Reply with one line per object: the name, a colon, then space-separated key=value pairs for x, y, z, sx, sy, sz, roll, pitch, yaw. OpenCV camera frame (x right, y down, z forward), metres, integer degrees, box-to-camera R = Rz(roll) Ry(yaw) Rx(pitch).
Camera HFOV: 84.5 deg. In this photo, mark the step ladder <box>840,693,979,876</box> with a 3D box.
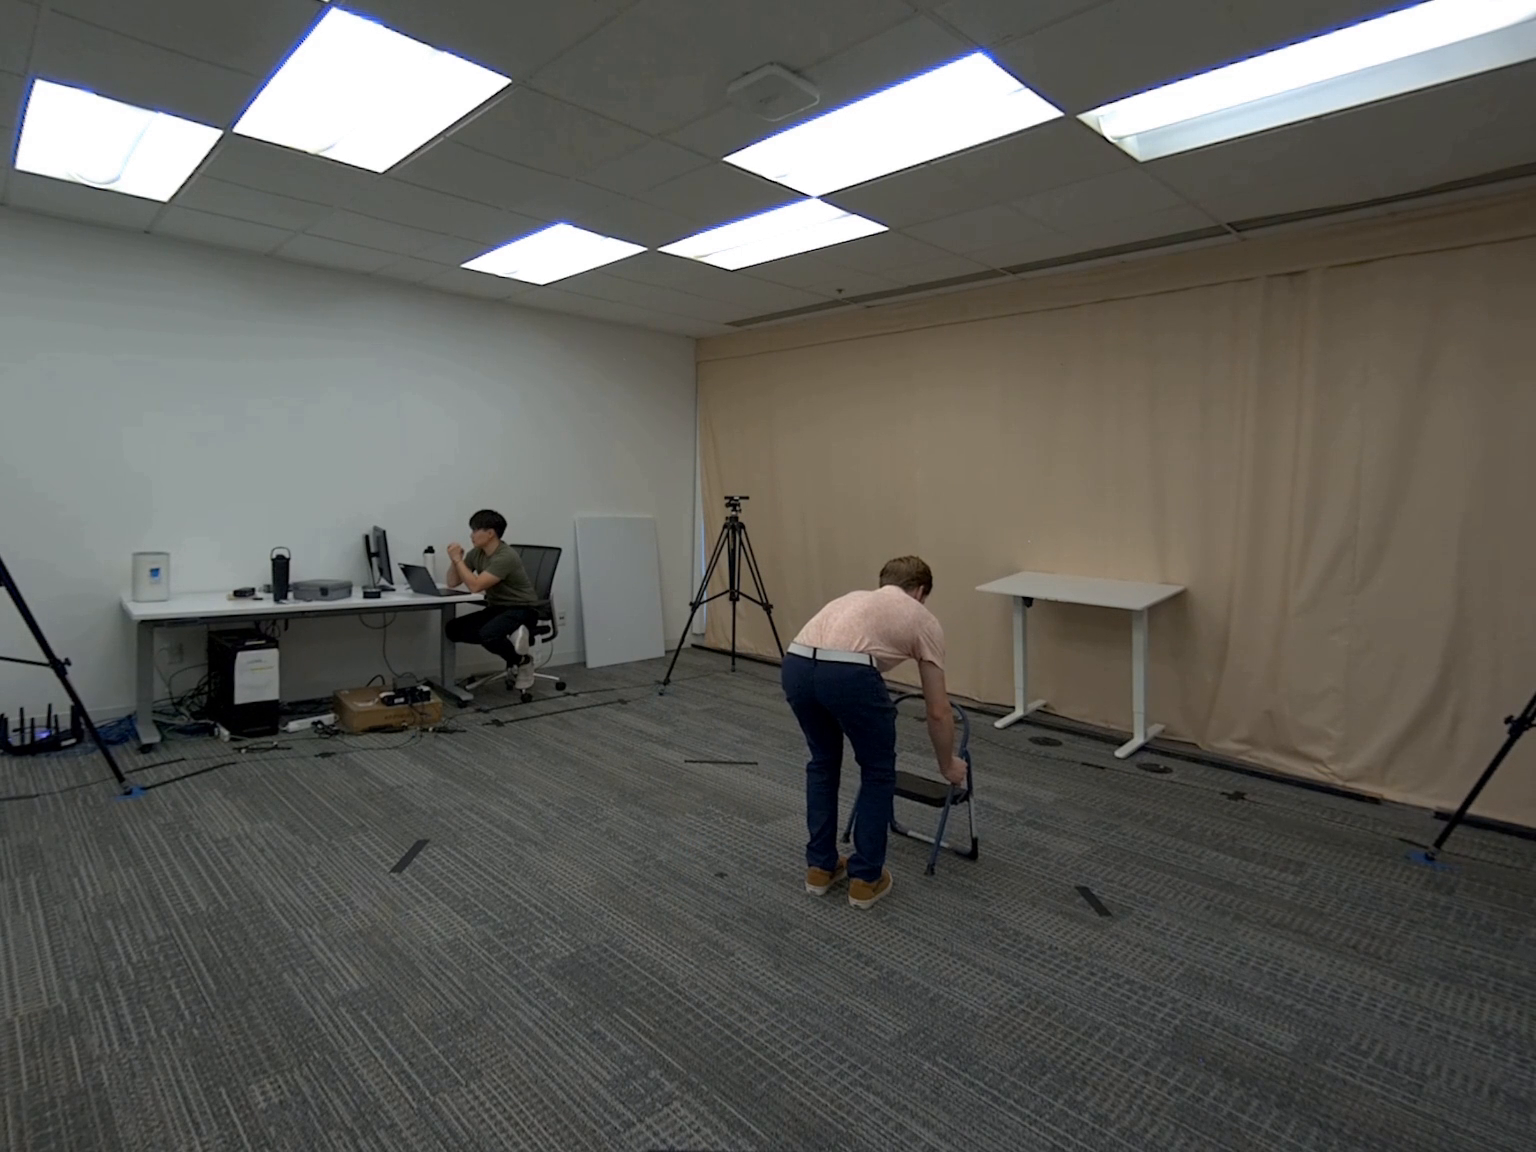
step ladder: x=0.576 y=0.784 z=3.324 sx=0.340 sy=0.606 sz=0.441 roll=6 pitch=-2 yaw=-44
